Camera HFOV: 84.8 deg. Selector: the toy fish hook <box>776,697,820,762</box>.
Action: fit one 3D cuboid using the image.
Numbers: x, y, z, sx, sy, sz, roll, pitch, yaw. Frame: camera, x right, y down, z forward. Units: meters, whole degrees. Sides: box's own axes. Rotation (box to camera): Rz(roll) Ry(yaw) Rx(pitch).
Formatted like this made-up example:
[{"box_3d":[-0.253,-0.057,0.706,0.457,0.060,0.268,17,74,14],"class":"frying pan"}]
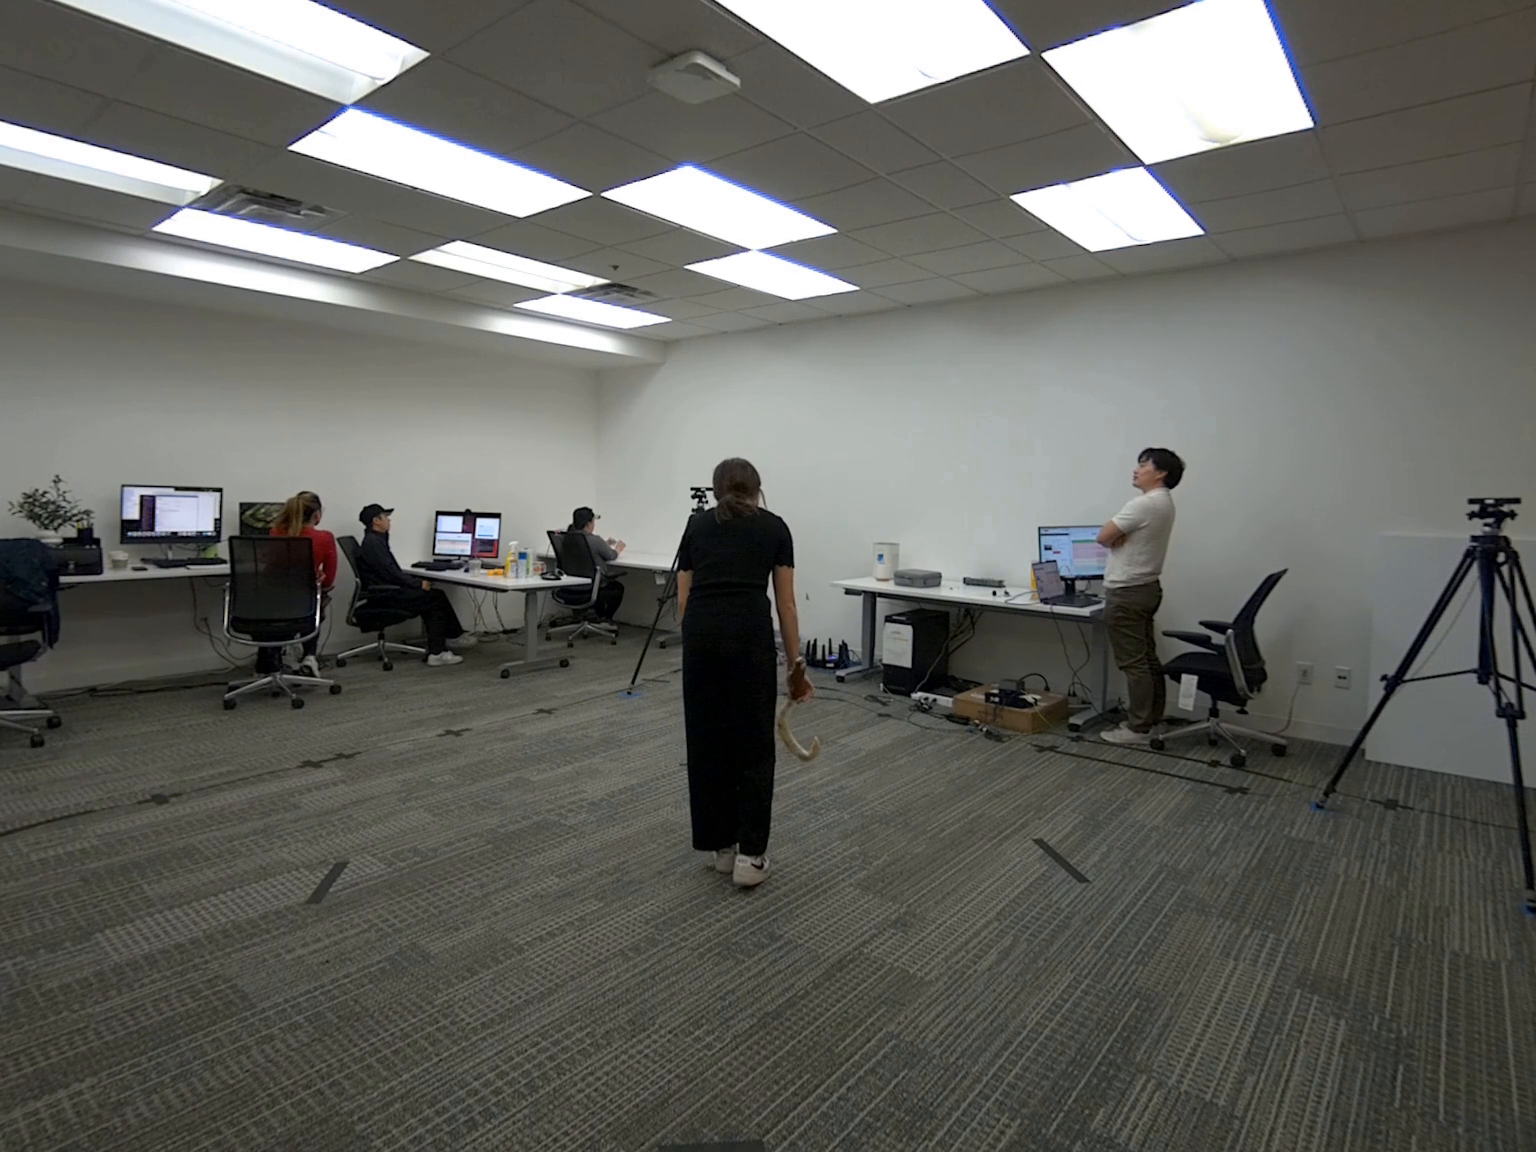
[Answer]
[{"box_3d":[0.112,0.514,3.156,0.047,0.494,0.233,-28,53,-34],"class":"toy fish hook"}]
